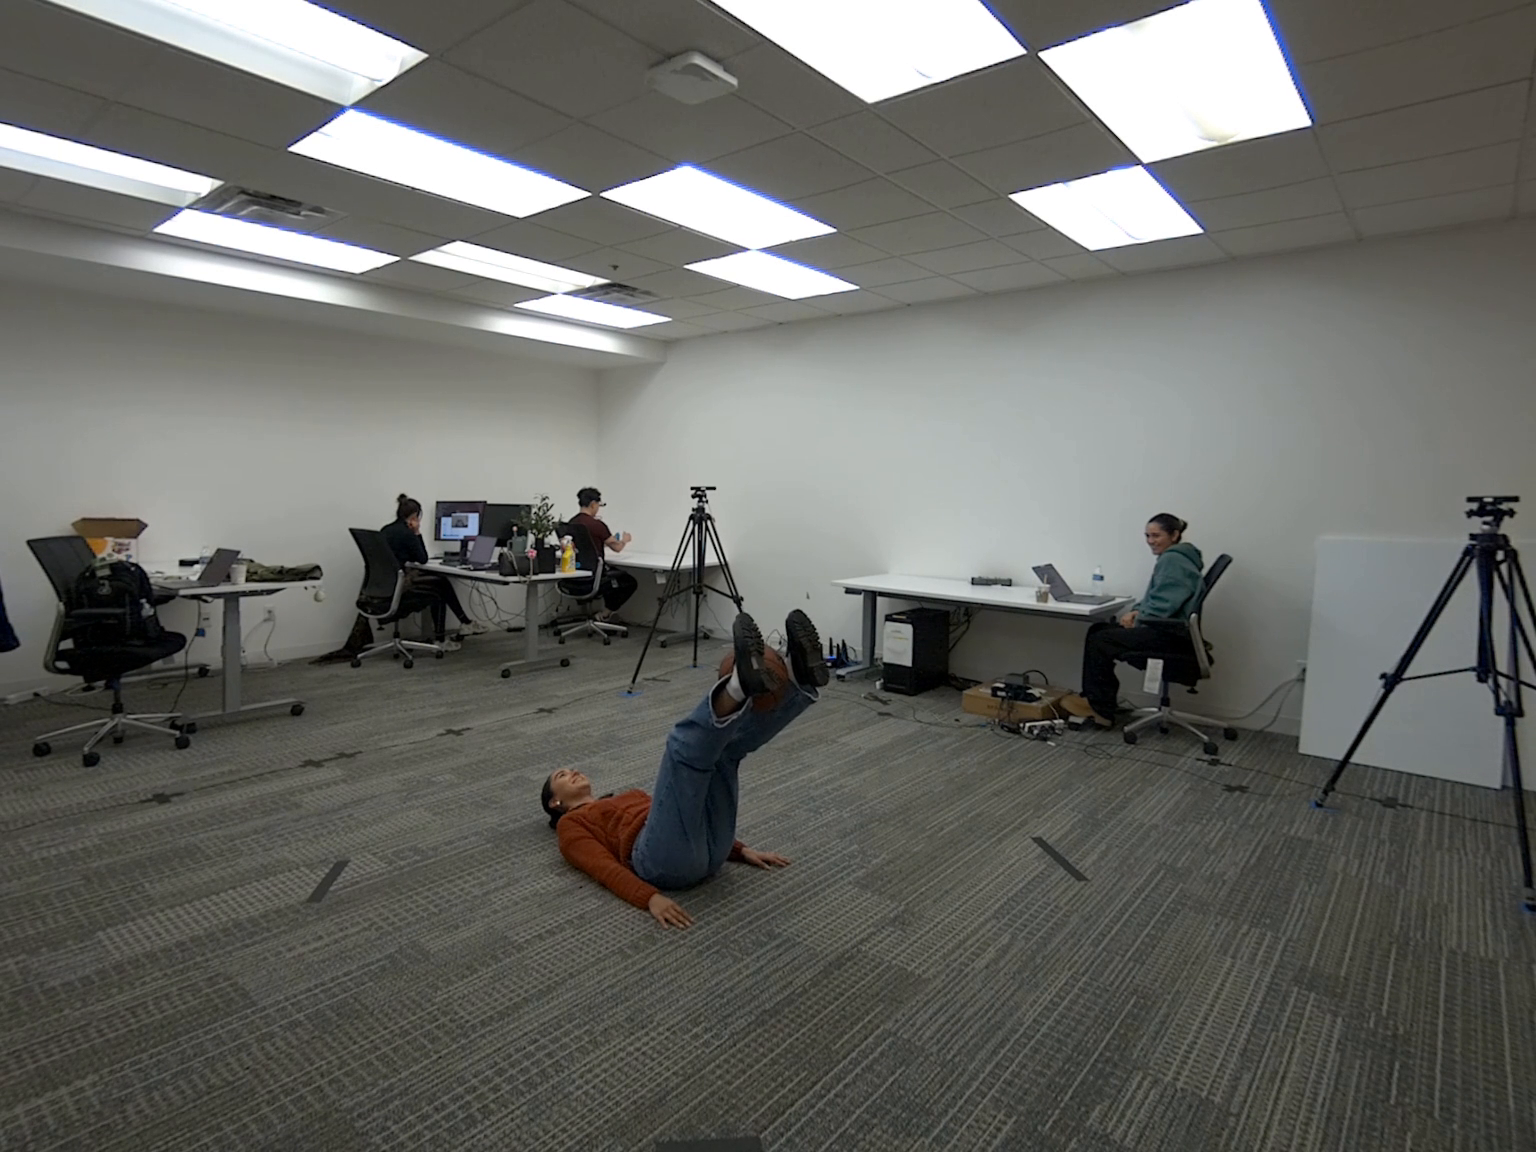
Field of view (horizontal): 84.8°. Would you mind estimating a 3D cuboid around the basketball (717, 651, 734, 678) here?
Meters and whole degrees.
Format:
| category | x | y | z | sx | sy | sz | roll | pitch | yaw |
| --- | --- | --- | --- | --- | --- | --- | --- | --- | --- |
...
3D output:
| category | x | y | z | sx | sy | sz | roll | pitch | yaw |
| --- | --- | --- | --- | --- | --- | --- | --- | --- | --- |
| basketball | -0.056 | 0.343 | 2.853 | 0.236 | 0.235 | 0.237 | 1 | 4 | -2 |
